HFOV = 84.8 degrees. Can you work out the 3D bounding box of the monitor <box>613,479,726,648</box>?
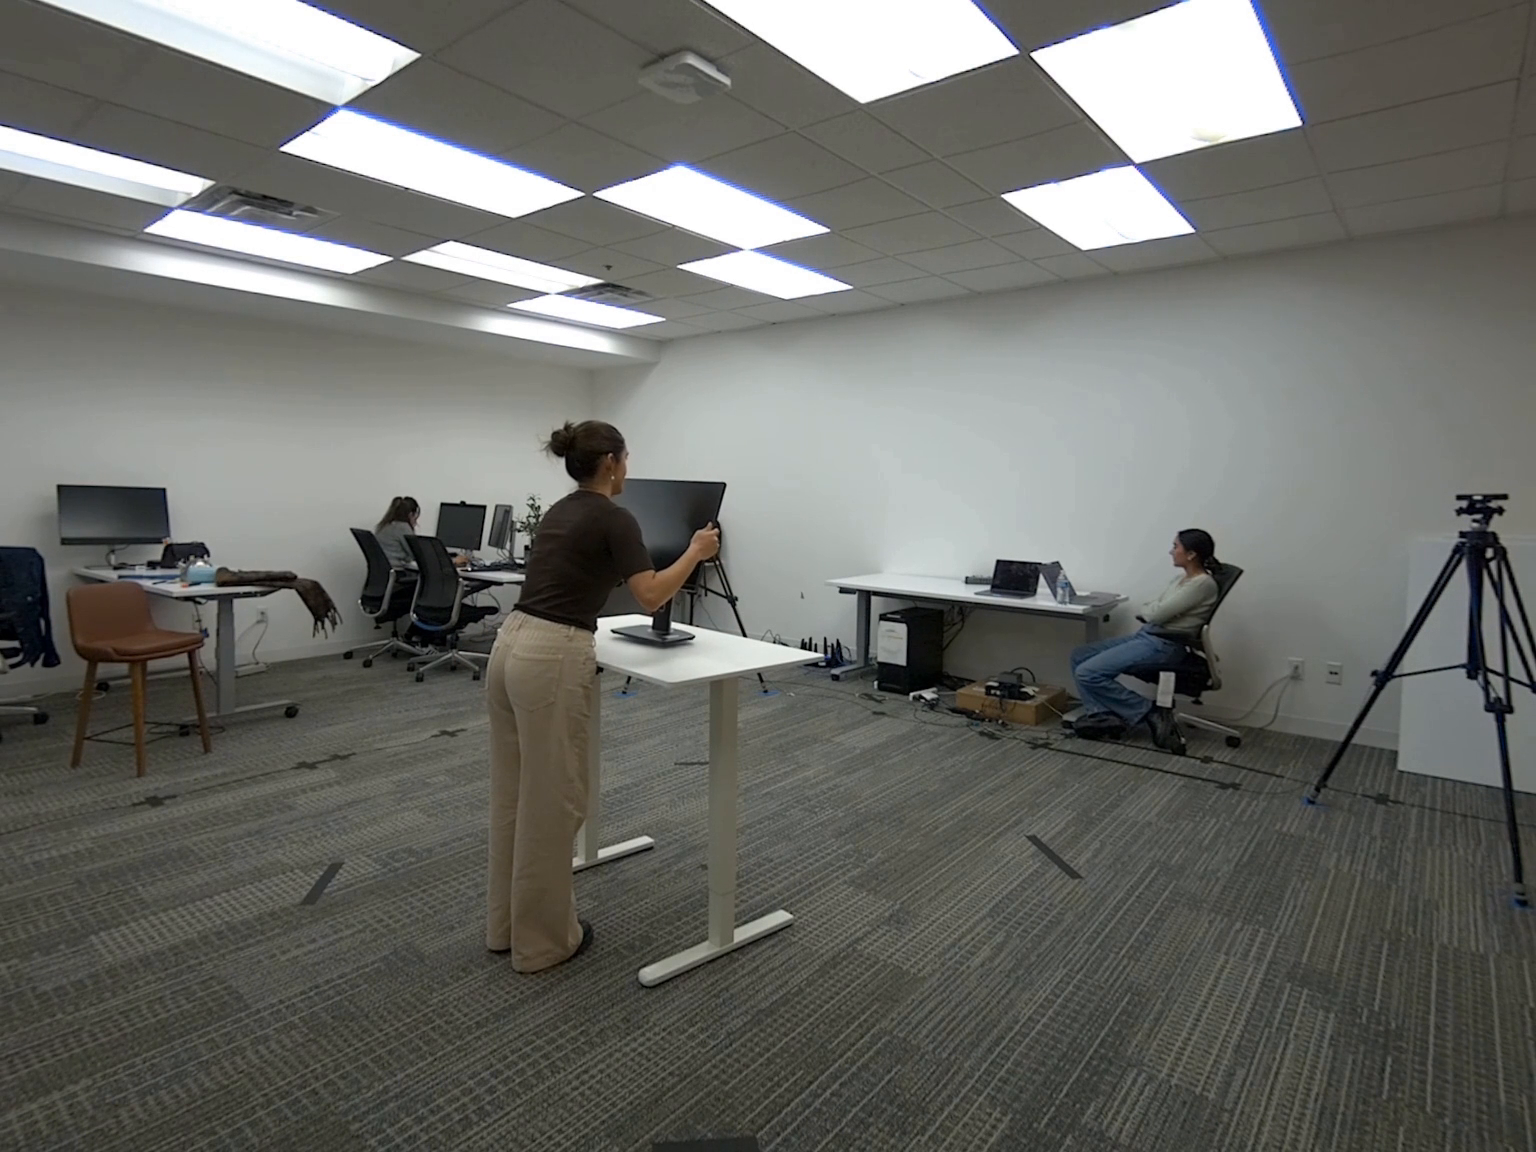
[{"bbox_3d":[-0.379,-0.058,2.807,0.557,0.522,0.181,5,2,38],"label":"monitor"}]
